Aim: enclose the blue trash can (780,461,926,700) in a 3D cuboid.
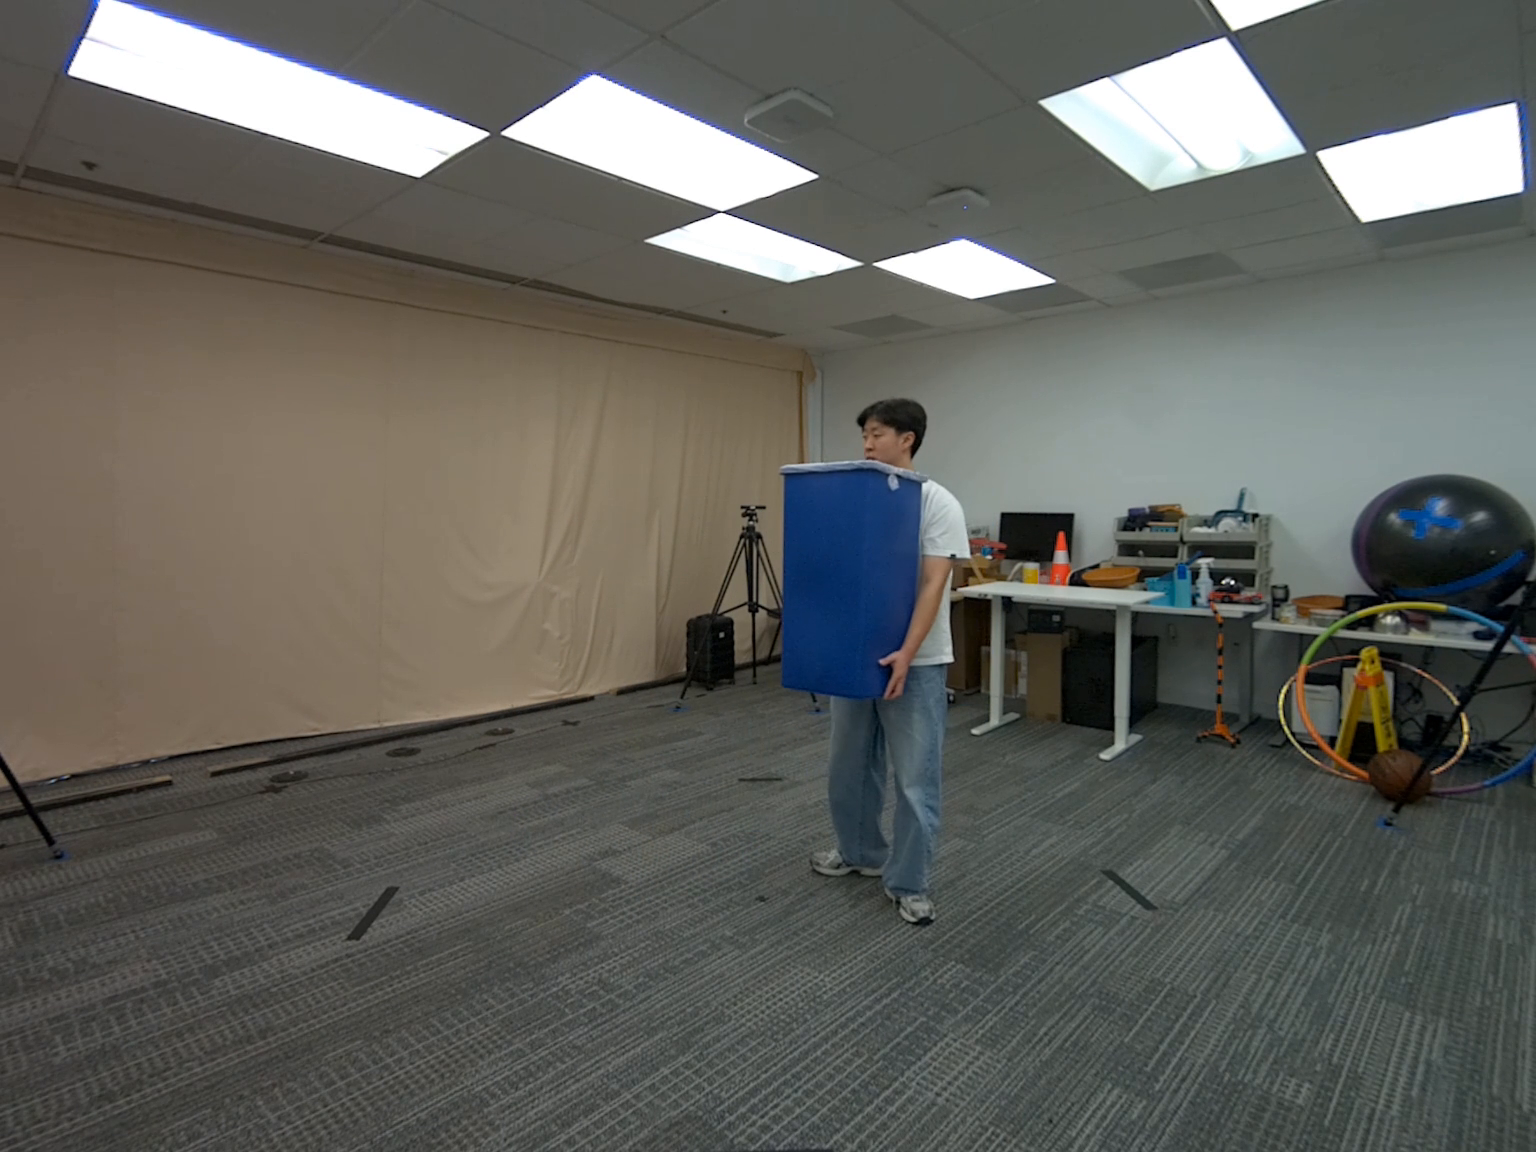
[{"bbox_3d":[0.259,0.012,2.738,0.386,0.714,0.365,2,-3,39],"label":"blue trash can"}]
